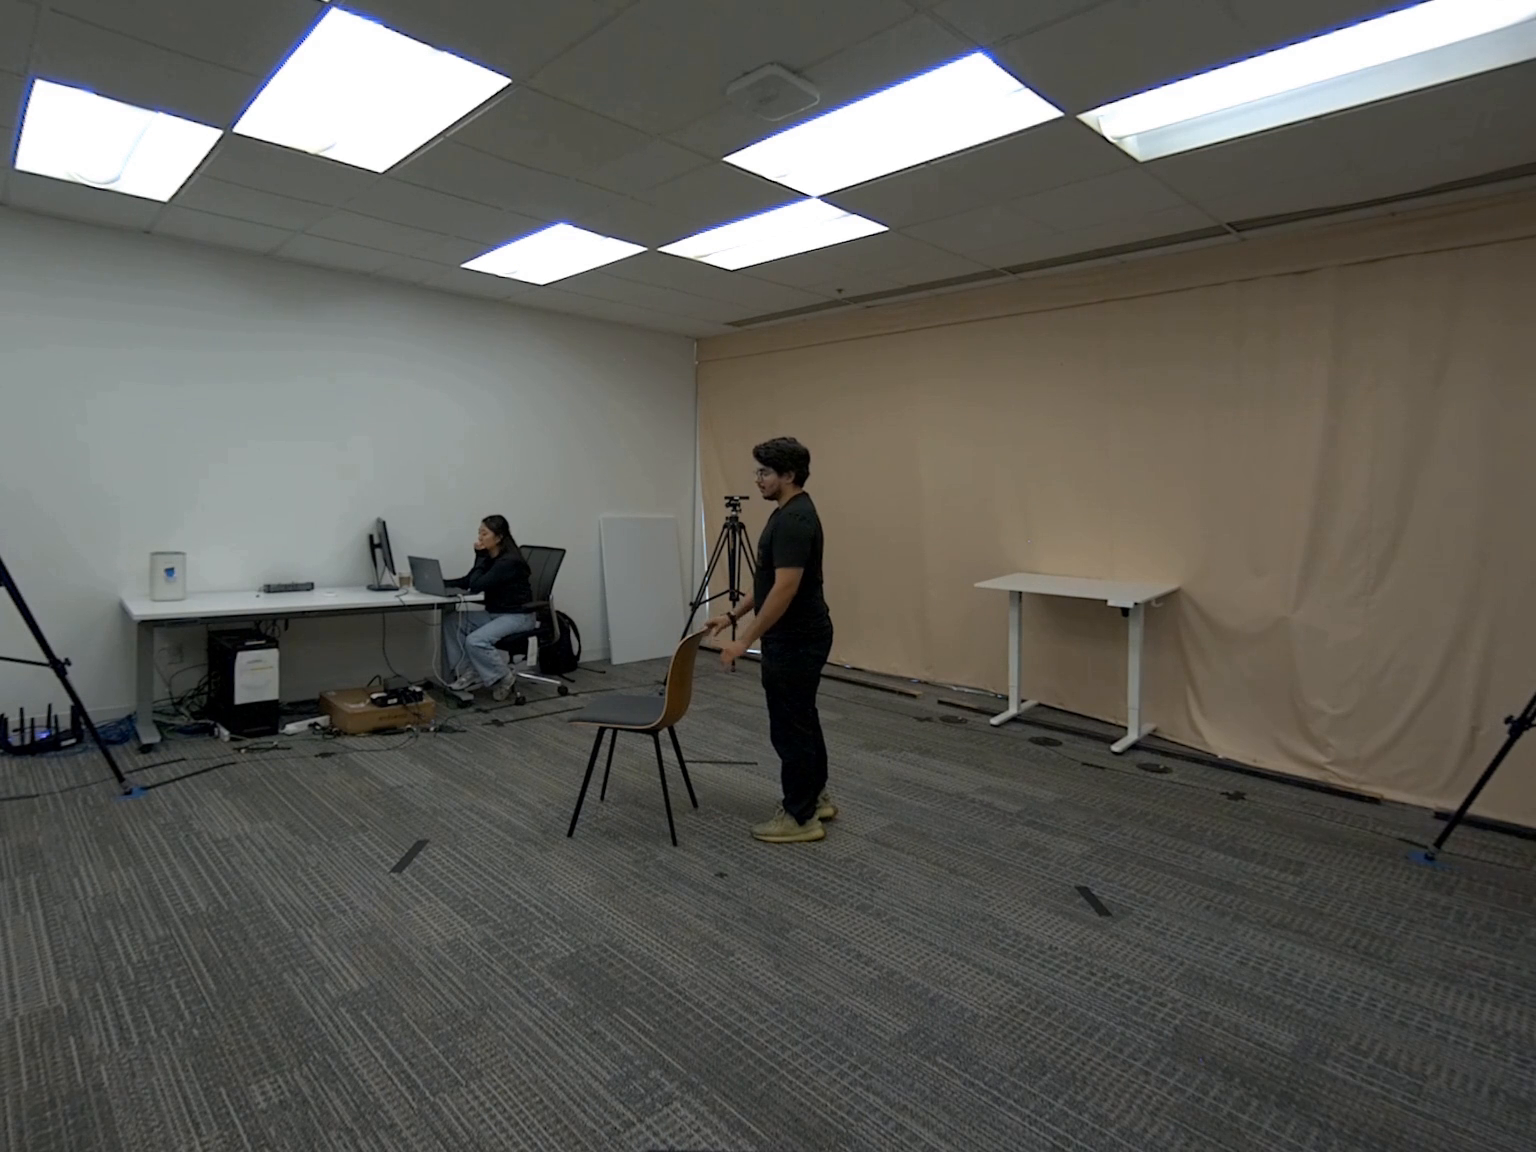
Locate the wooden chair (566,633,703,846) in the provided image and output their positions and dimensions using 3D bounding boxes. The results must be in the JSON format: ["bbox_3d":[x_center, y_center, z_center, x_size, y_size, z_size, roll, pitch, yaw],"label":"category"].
[{"bbox_3d":[-0.564,0.621,3.558,0.526,0.875,0.476,6,4,7],"label":"wooden chair"}]
